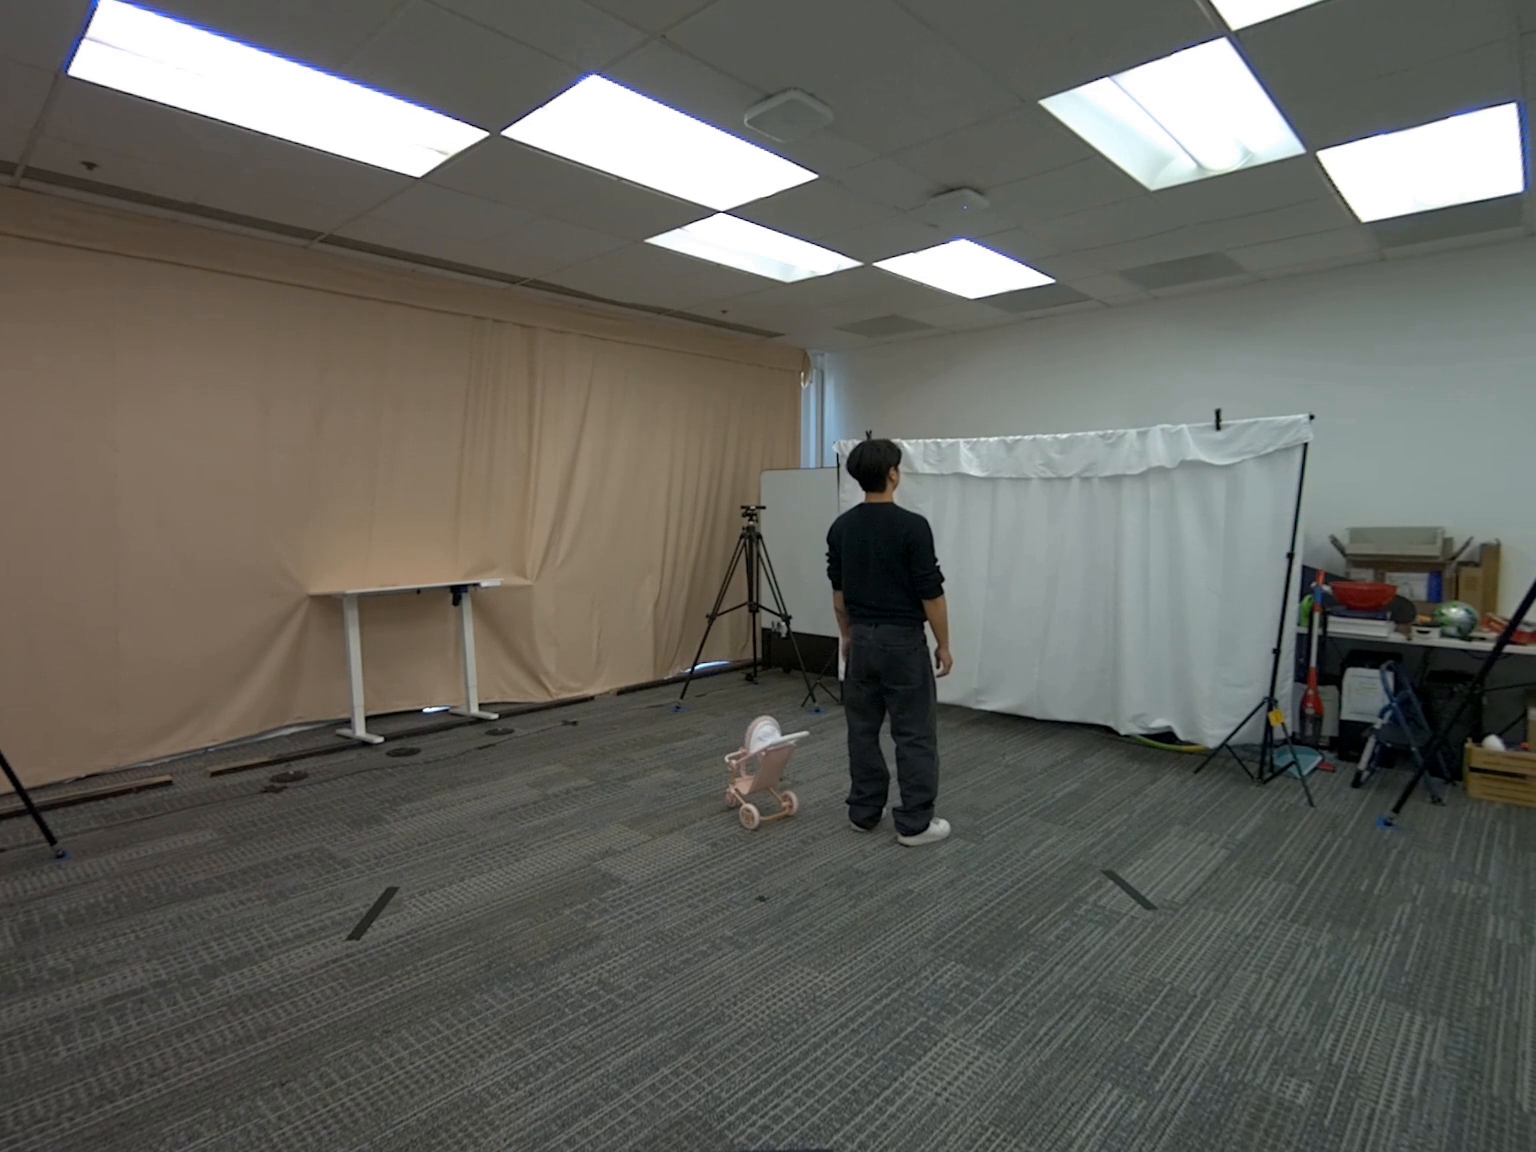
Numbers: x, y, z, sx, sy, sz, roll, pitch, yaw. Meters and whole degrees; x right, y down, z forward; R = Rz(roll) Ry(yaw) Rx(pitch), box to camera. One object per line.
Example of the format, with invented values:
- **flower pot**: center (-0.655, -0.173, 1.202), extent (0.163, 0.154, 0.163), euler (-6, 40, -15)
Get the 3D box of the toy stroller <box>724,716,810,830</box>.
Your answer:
- **toy stroller**: center (-0.031, 0.857, 3.757), extent (0.273, 0.531, 0.354), euler (-2, 20, -39)
